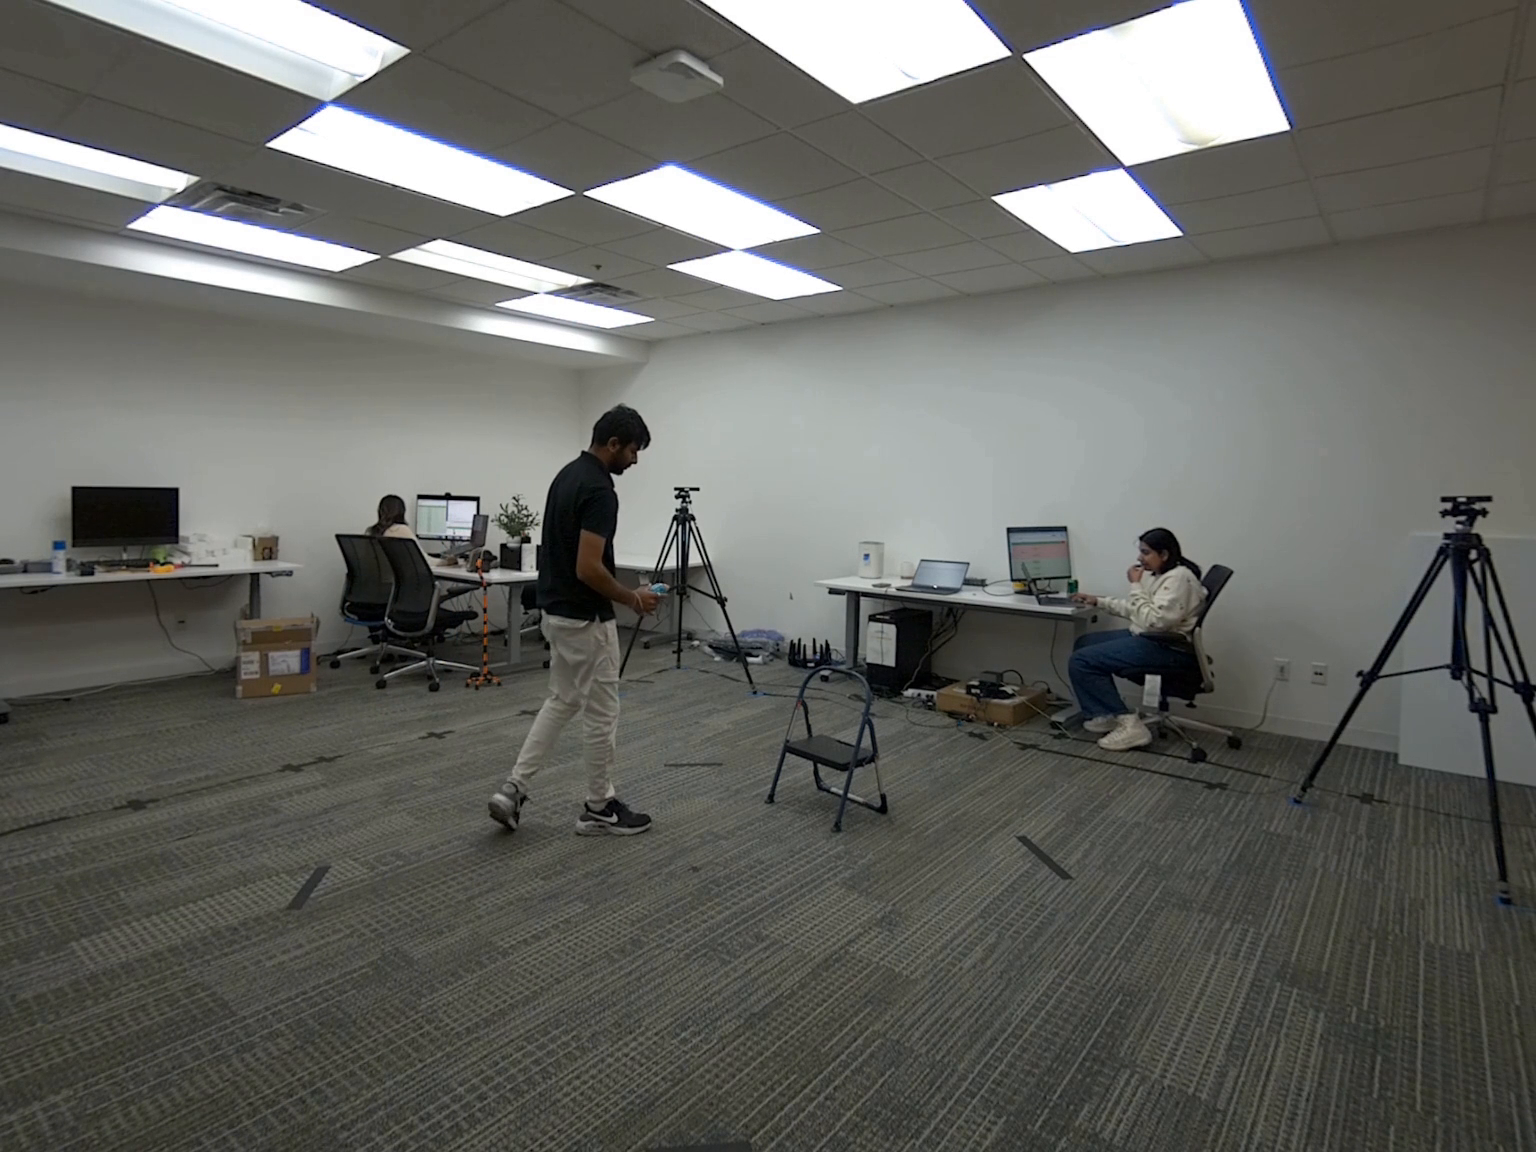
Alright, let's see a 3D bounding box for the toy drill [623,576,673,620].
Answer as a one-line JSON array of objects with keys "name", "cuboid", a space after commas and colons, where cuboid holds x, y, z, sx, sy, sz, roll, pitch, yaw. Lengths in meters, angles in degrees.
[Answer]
[{"name": "toy drill", "cuboid": [-0.494, 0.085, 3.453, 0.146, 0.061, 0.168, -44, -2, 20]}]
